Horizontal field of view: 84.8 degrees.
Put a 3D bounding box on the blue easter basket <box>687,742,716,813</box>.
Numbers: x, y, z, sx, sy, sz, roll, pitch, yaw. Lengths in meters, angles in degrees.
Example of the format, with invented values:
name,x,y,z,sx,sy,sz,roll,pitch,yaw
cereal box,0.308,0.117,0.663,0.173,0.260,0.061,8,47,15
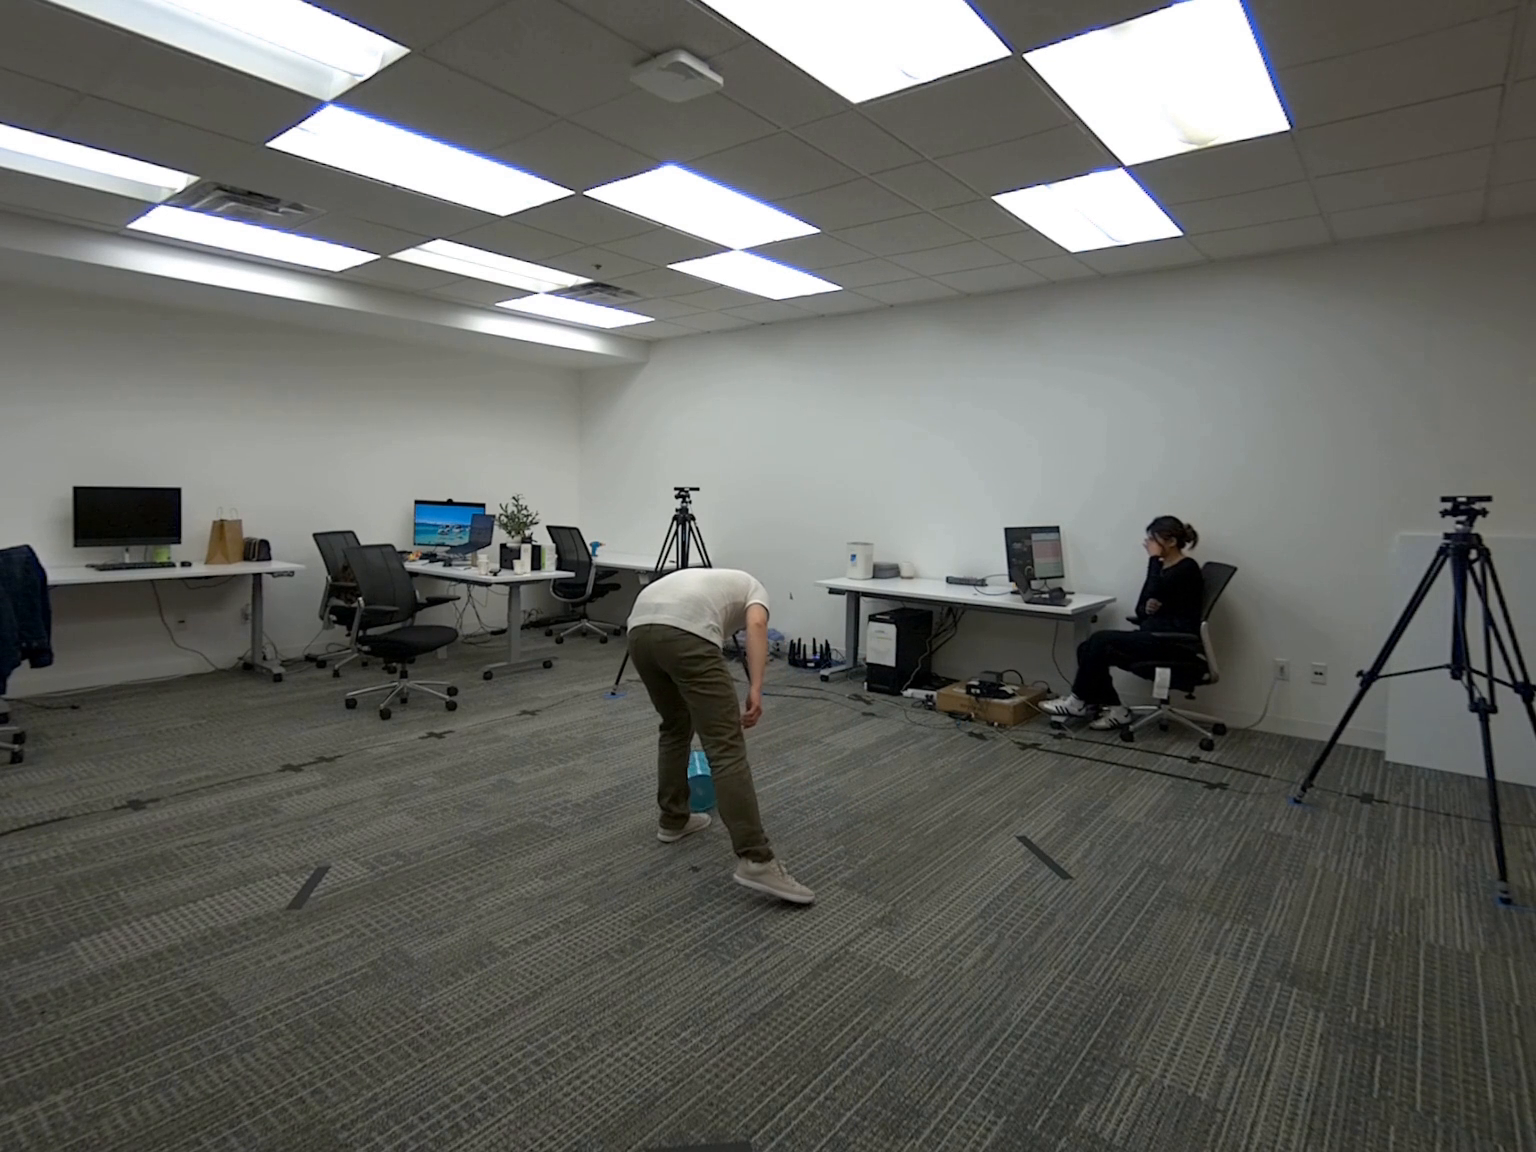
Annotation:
name,x,y,z,sx,sy,sz,roll,pitch,yaw
blue easter basket,-0.313,0.896,3.711,0.240,0.240,0.160,0,17,-12
